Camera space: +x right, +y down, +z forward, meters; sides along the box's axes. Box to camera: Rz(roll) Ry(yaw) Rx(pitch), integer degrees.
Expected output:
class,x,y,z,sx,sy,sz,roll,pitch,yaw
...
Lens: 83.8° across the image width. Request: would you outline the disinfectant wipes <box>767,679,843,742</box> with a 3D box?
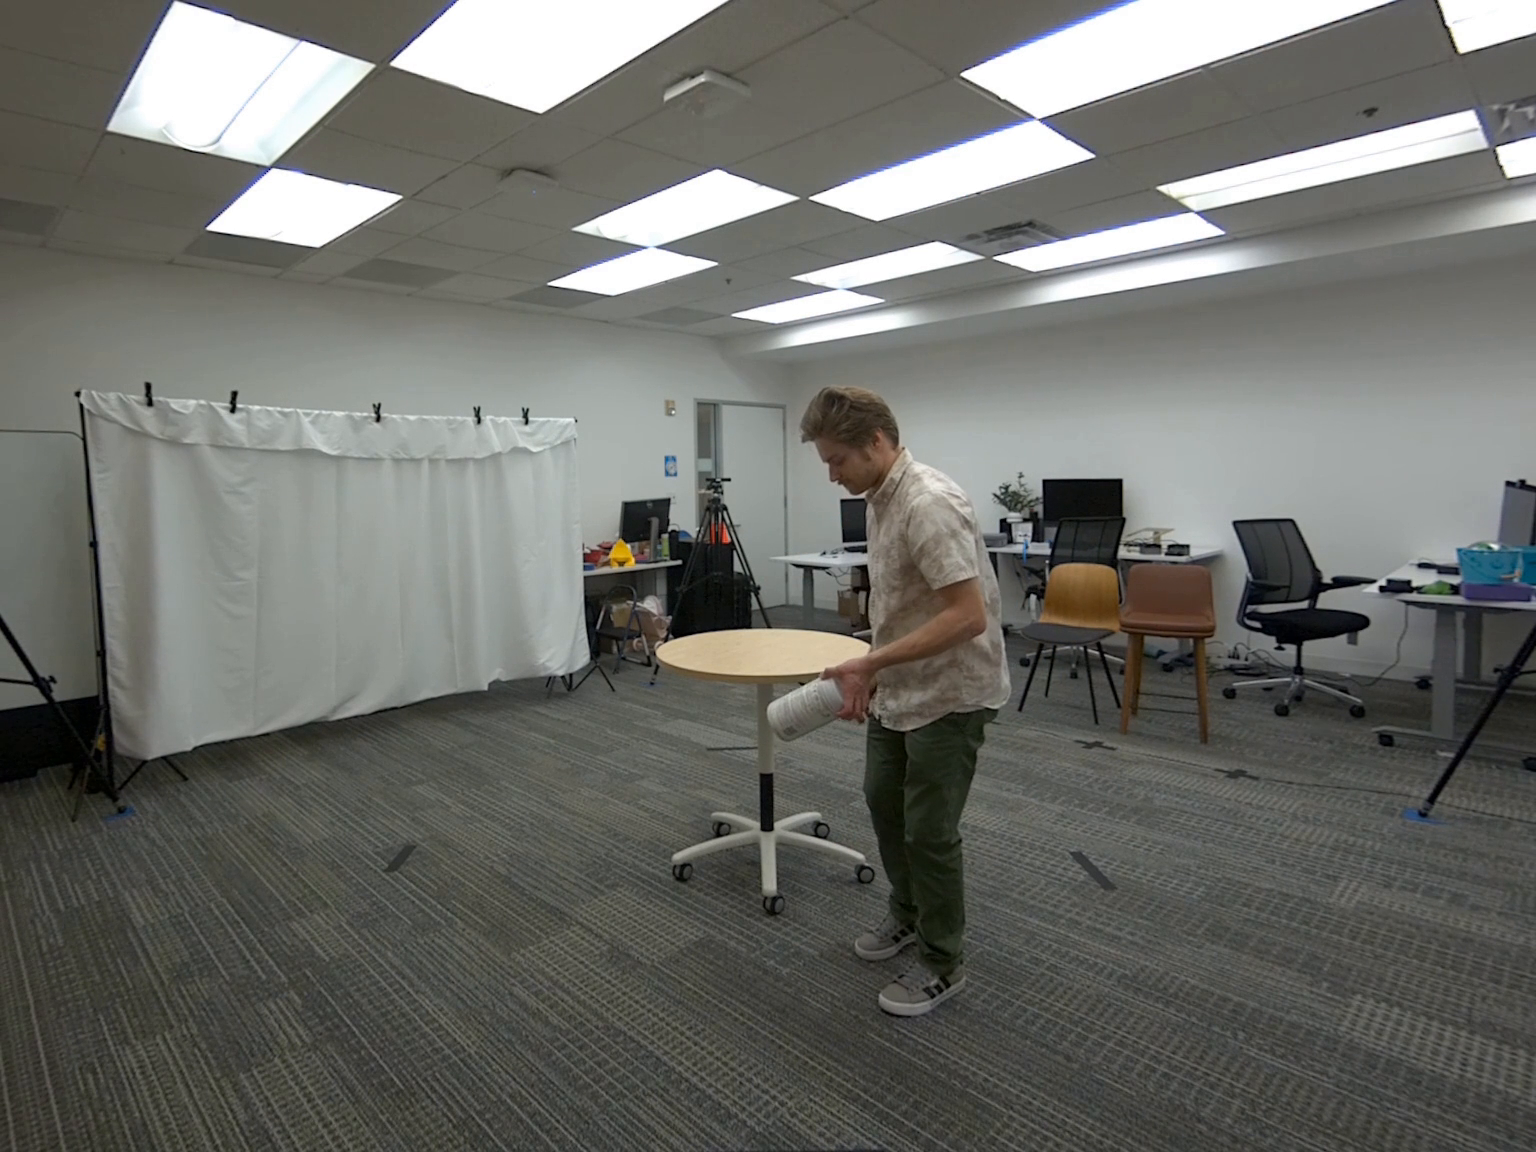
class,x,y,z,sx,sy,sz,roll,pitch,yaw
disinfectant wipes,0.123,0.328,2.124,0.219,0.119,0.115,-35,-12,27
